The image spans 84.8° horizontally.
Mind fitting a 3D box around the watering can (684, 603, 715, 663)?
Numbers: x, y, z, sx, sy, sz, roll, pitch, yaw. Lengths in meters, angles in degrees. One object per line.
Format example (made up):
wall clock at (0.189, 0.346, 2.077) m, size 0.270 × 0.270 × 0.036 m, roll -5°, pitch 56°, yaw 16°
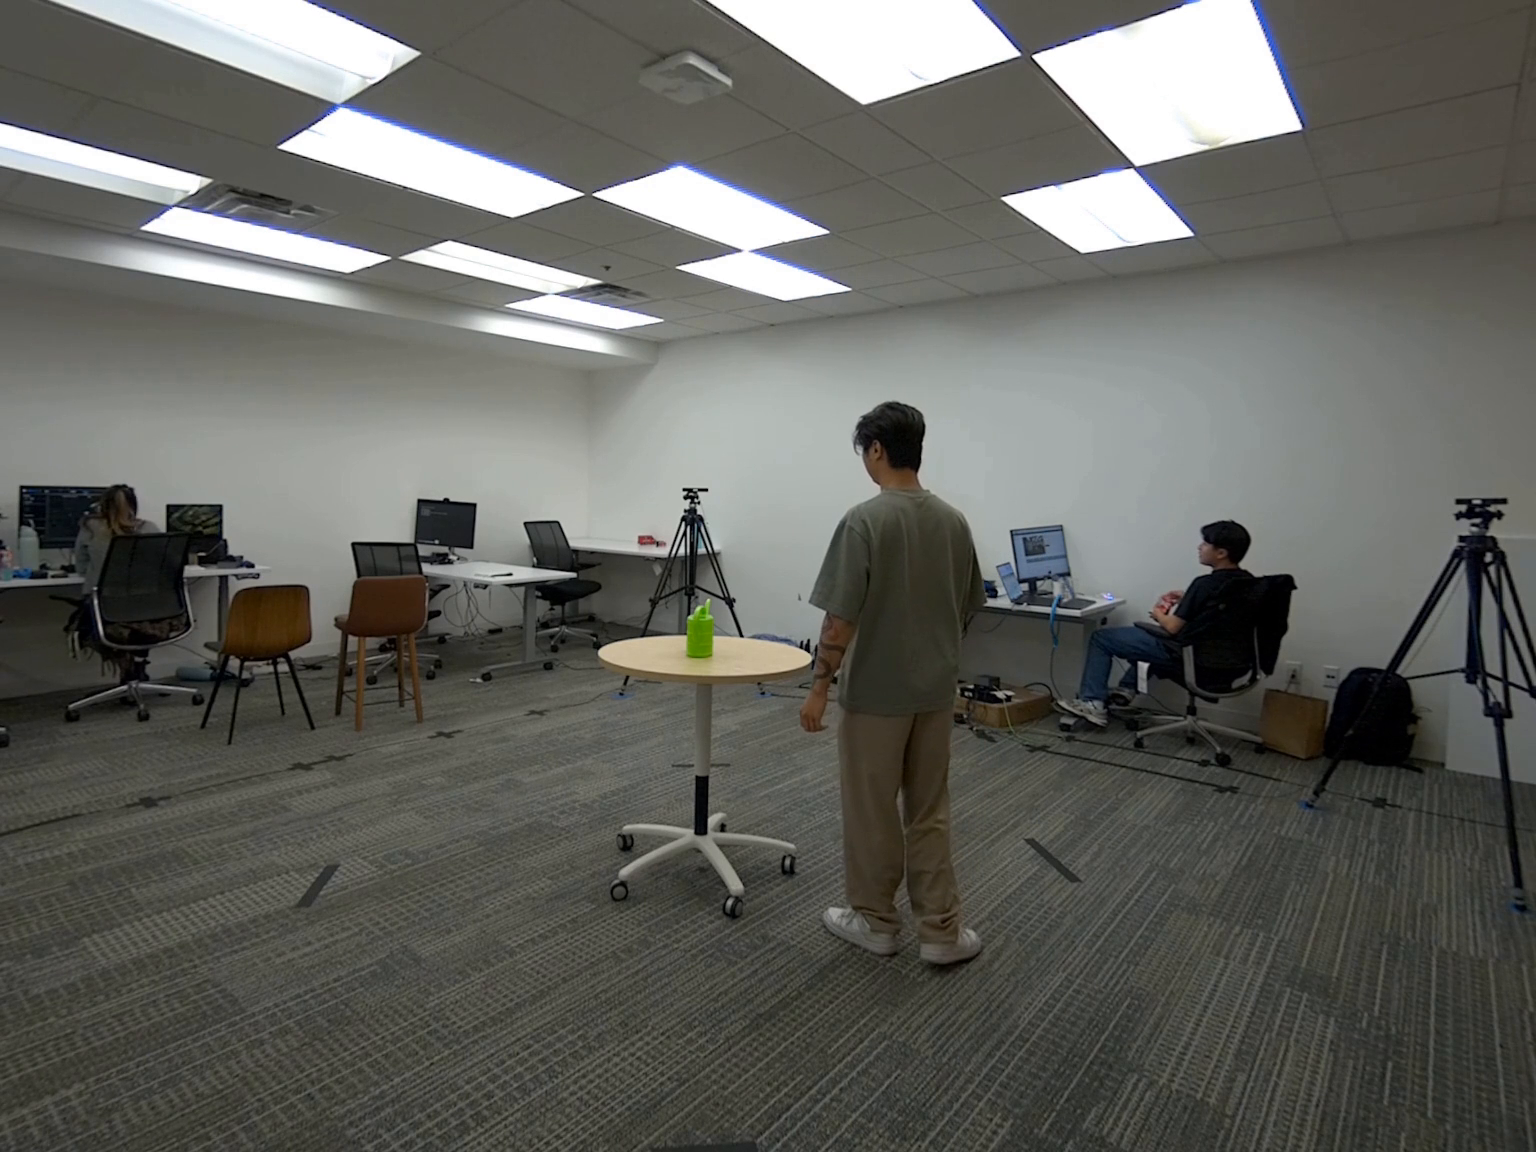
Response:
watering can at (-0.233, 0.190, 3.062) m, size 0.100 × 0.176 × 0.272 m, roll 3°, pitch 7°, yaw 25°
